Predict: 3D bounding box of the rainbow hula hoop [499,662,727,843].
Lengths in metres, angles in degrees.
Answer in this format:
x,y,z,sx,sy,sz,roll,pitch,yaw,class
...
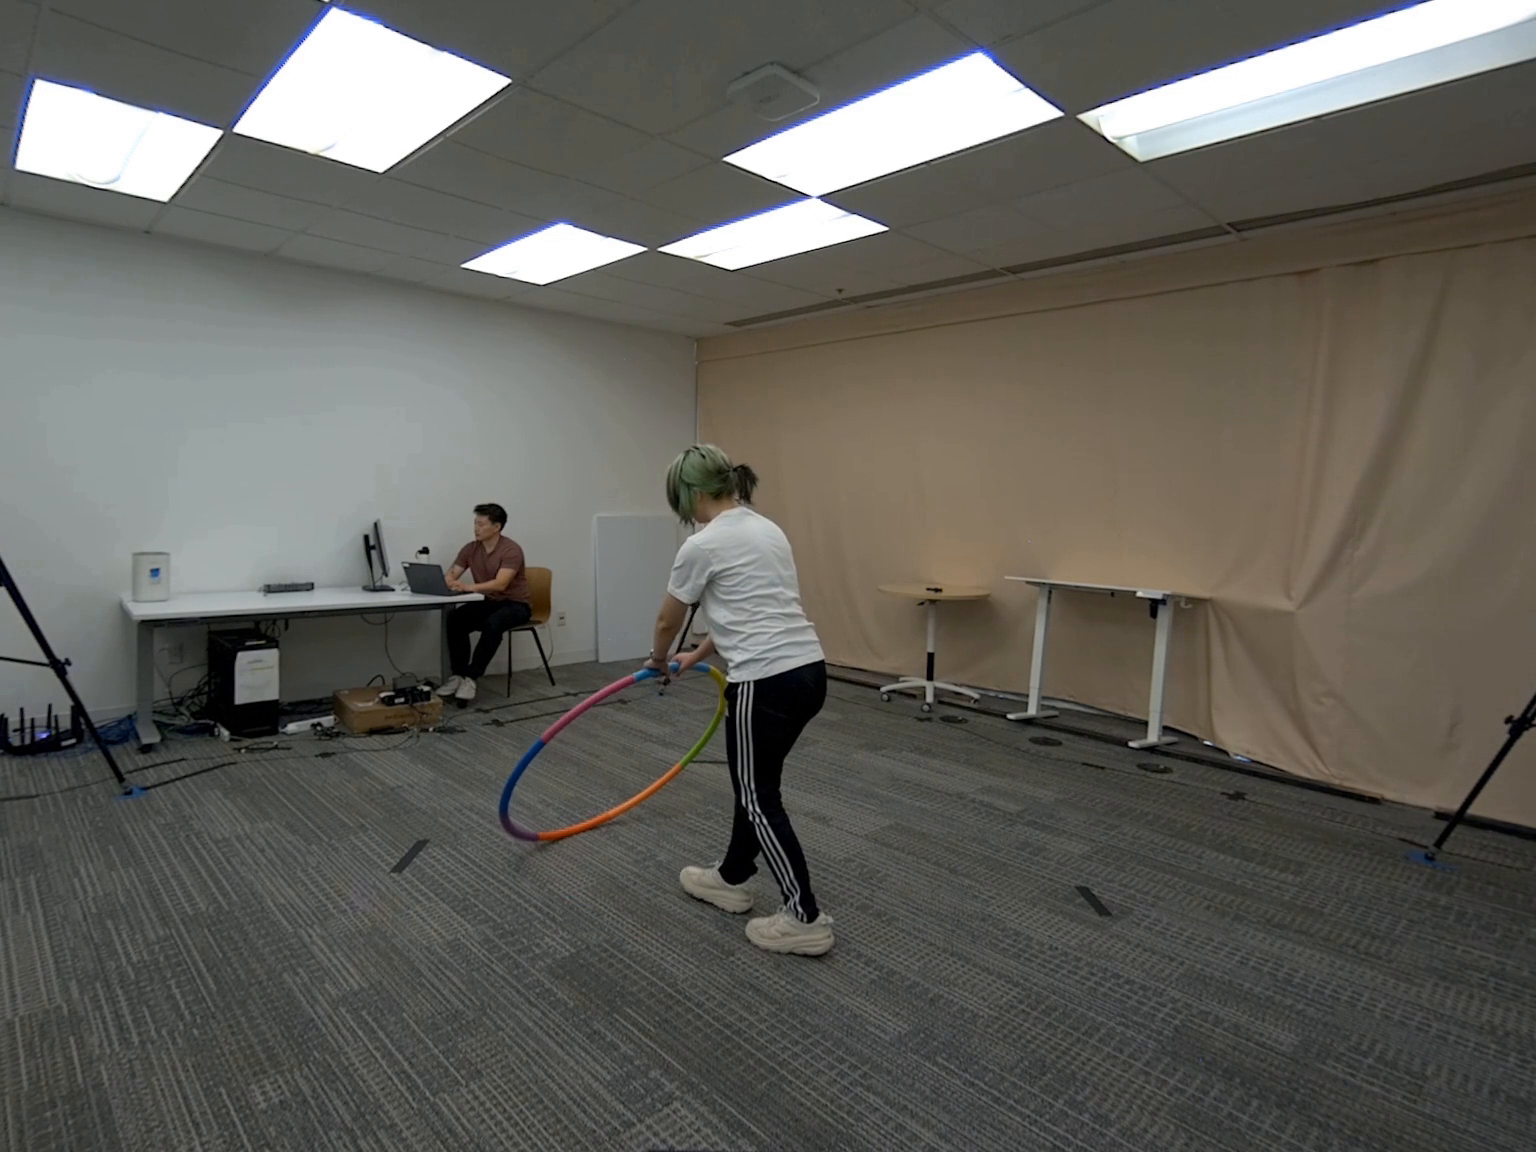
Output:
x,y,z,sx,sy,sz,roll,pitch,yaw,class
-0.573,0.687,3.234,0.956,0.973,0.036,-4,44,-47,rainbow hula hoop
